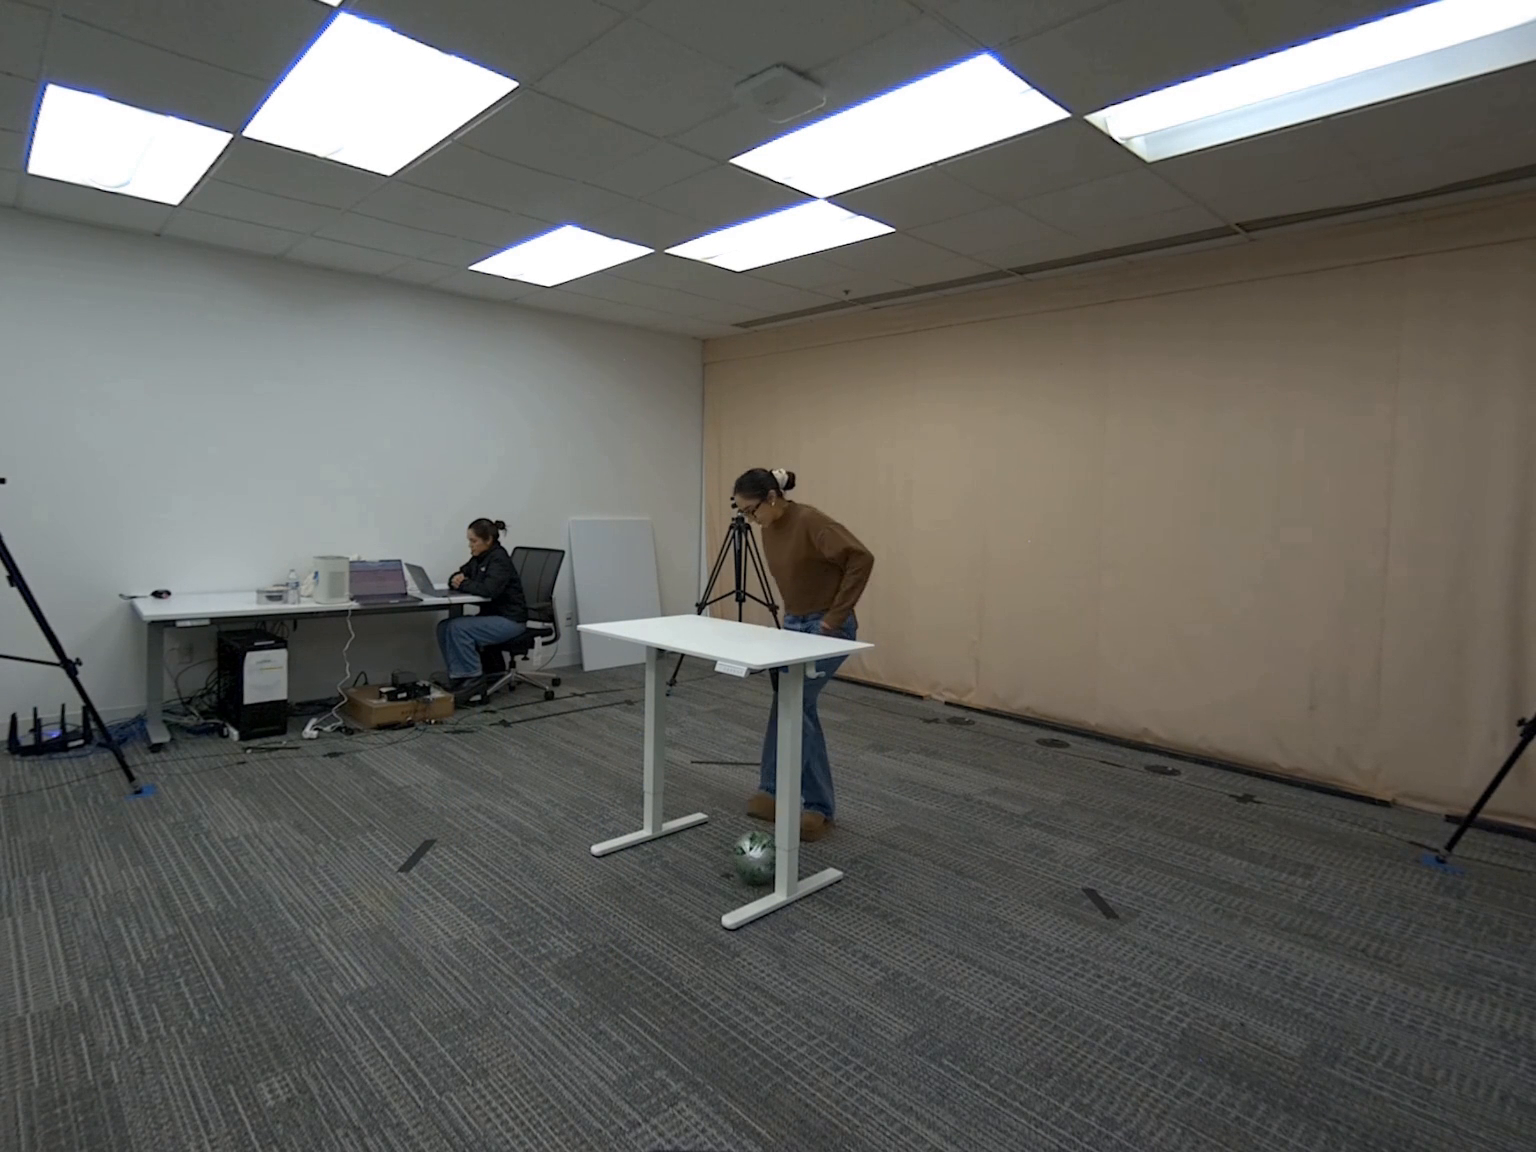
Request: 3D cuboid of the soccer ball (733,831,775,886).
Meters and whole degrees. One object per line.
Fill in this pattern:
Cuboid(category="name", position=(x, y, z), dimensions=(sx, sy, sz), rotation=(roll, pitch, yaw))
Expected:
Cuboid(category="soccer ball", position=(-0.048, 1.021, 3.058), dimensions=(0.187, 0.187, 0.188), rotation=(1, 4, -1))
